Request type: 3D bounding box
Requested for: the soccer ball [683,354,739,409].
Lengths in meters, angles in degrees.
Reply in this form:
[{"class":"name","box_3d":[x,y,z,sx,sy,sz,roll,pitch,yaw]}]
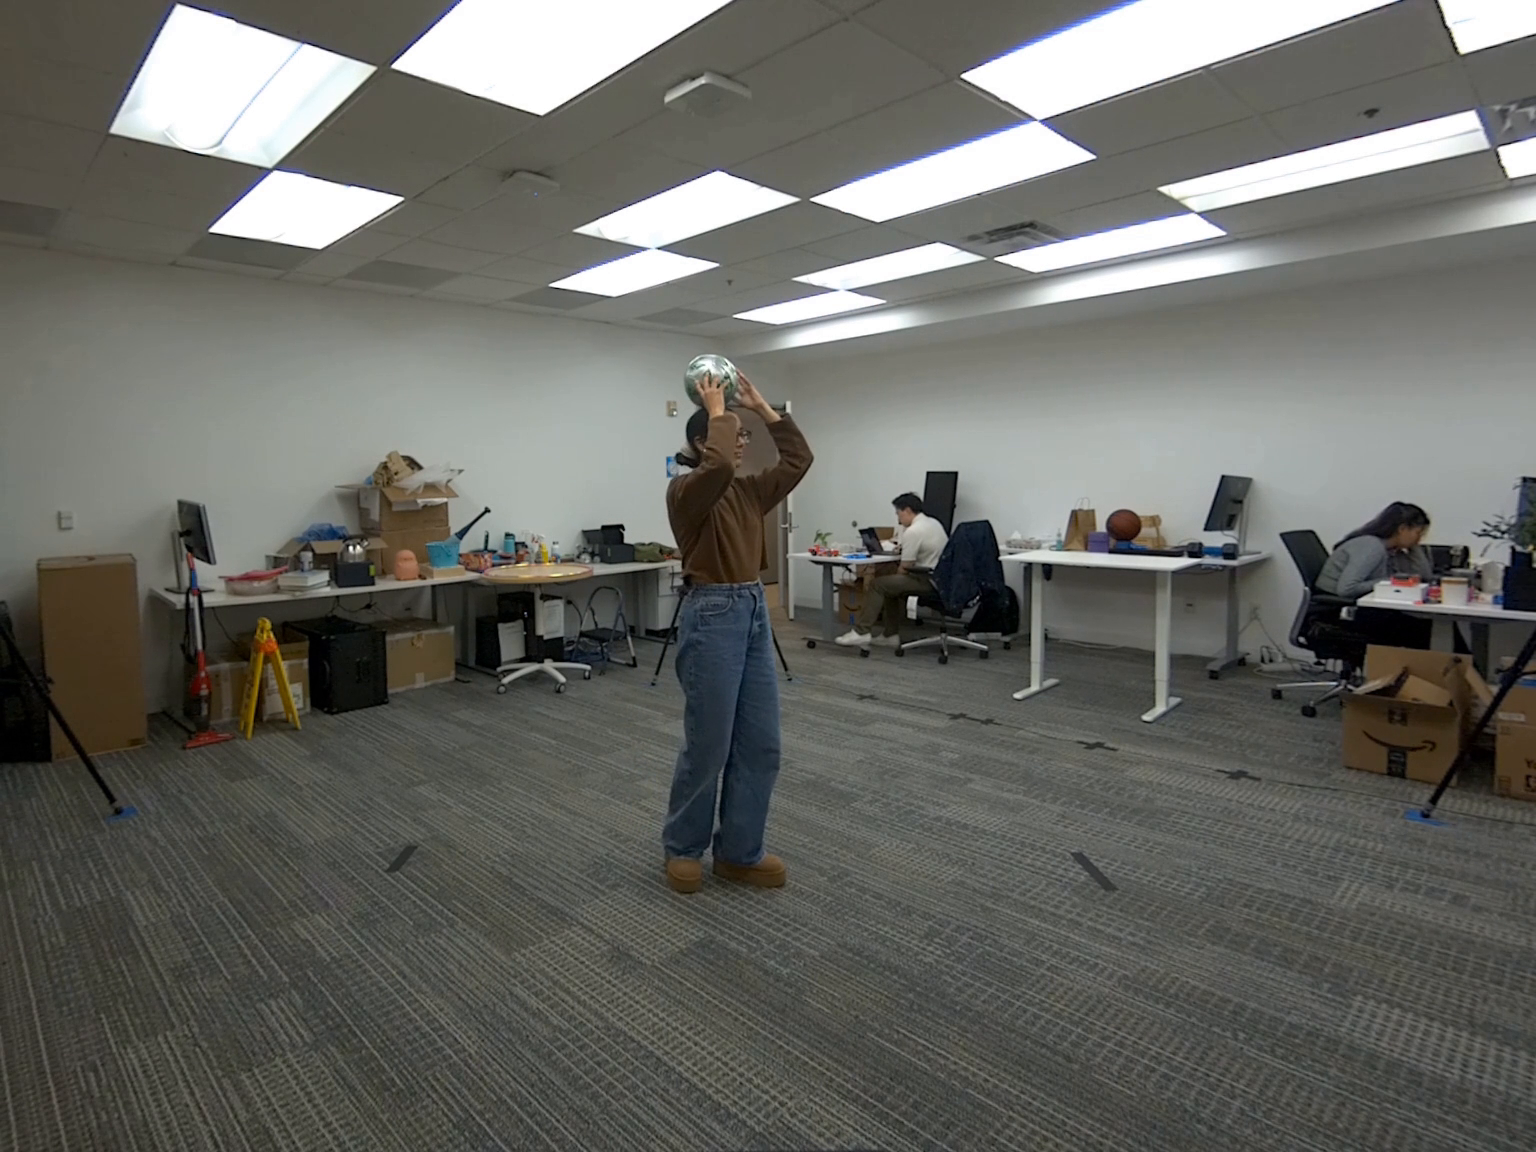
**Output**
[{"class":"soccer ball","box_3d":[-0.191,-0.668,2.944,0.187,0.187,0.188,-1,5,-2]}]
